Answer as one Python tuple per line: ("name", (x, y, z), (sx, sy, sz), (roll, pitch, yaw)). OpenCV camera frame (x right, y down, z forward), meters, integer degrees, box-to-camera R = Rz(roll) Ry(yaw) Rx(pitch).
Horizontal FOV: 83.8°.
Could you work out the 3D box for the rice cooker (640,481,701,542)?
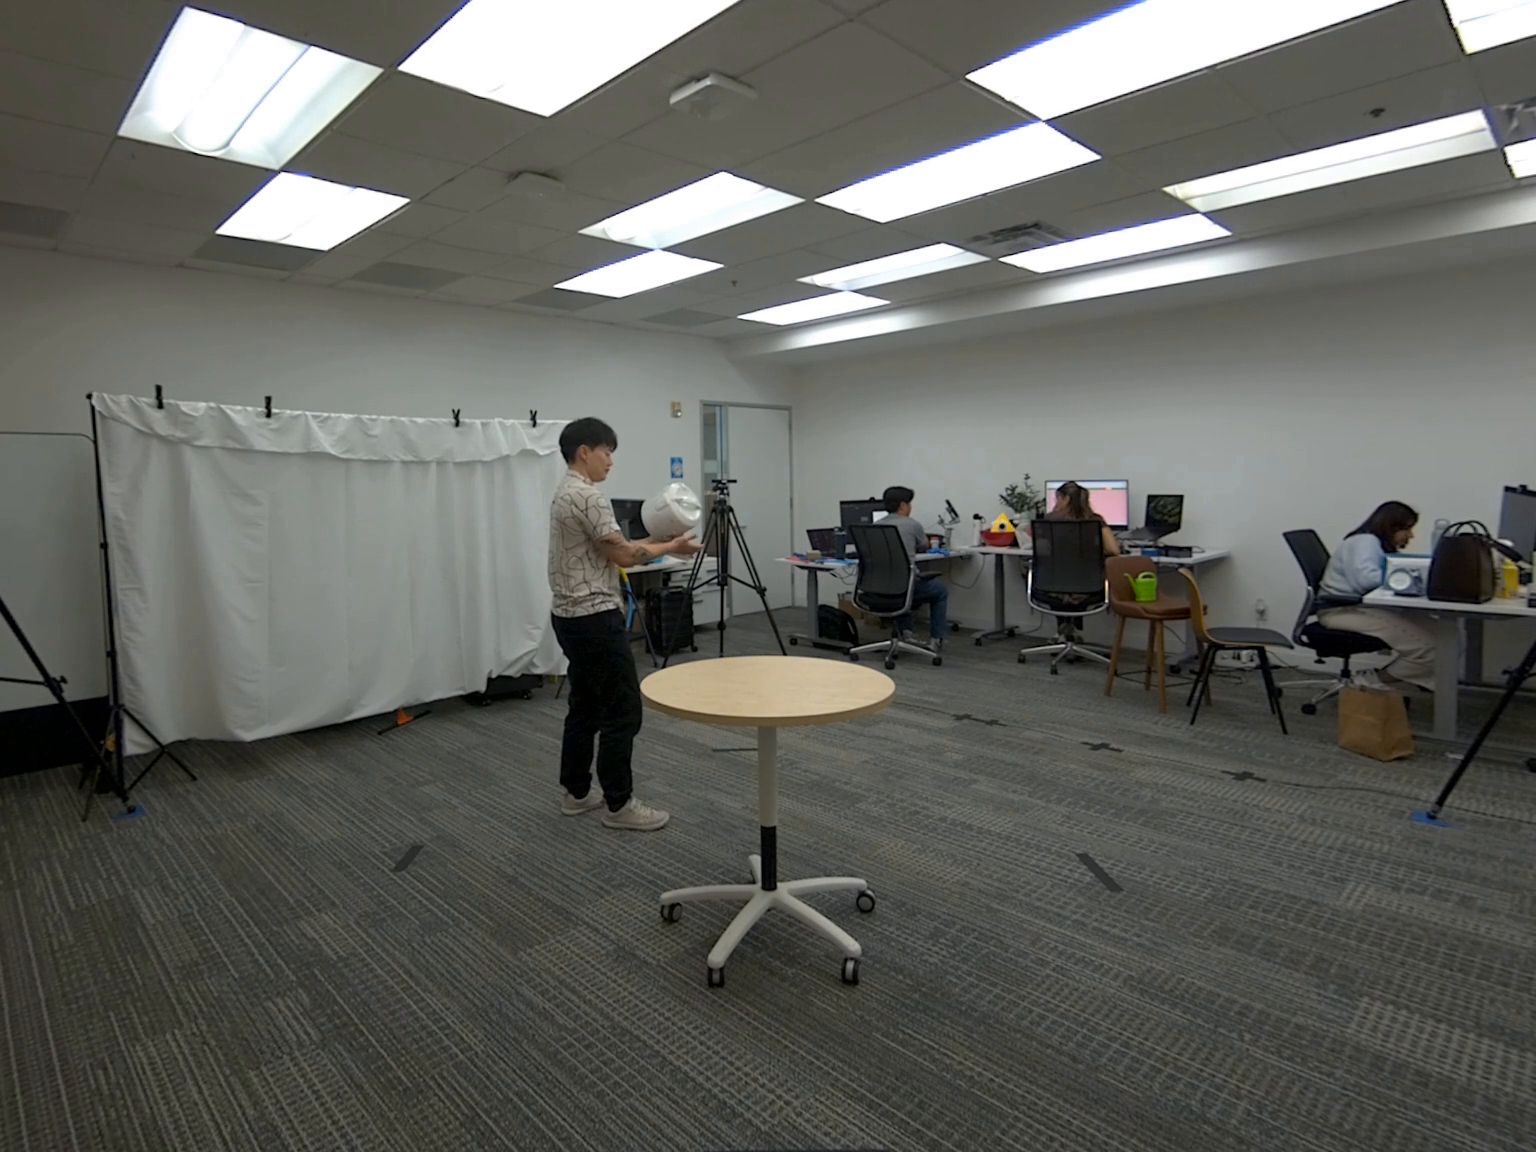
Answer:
("rice cooker", (-0.404, -0.274, 3.709), (0.235, 0.223, 0.213), (-28, -28, 33))
